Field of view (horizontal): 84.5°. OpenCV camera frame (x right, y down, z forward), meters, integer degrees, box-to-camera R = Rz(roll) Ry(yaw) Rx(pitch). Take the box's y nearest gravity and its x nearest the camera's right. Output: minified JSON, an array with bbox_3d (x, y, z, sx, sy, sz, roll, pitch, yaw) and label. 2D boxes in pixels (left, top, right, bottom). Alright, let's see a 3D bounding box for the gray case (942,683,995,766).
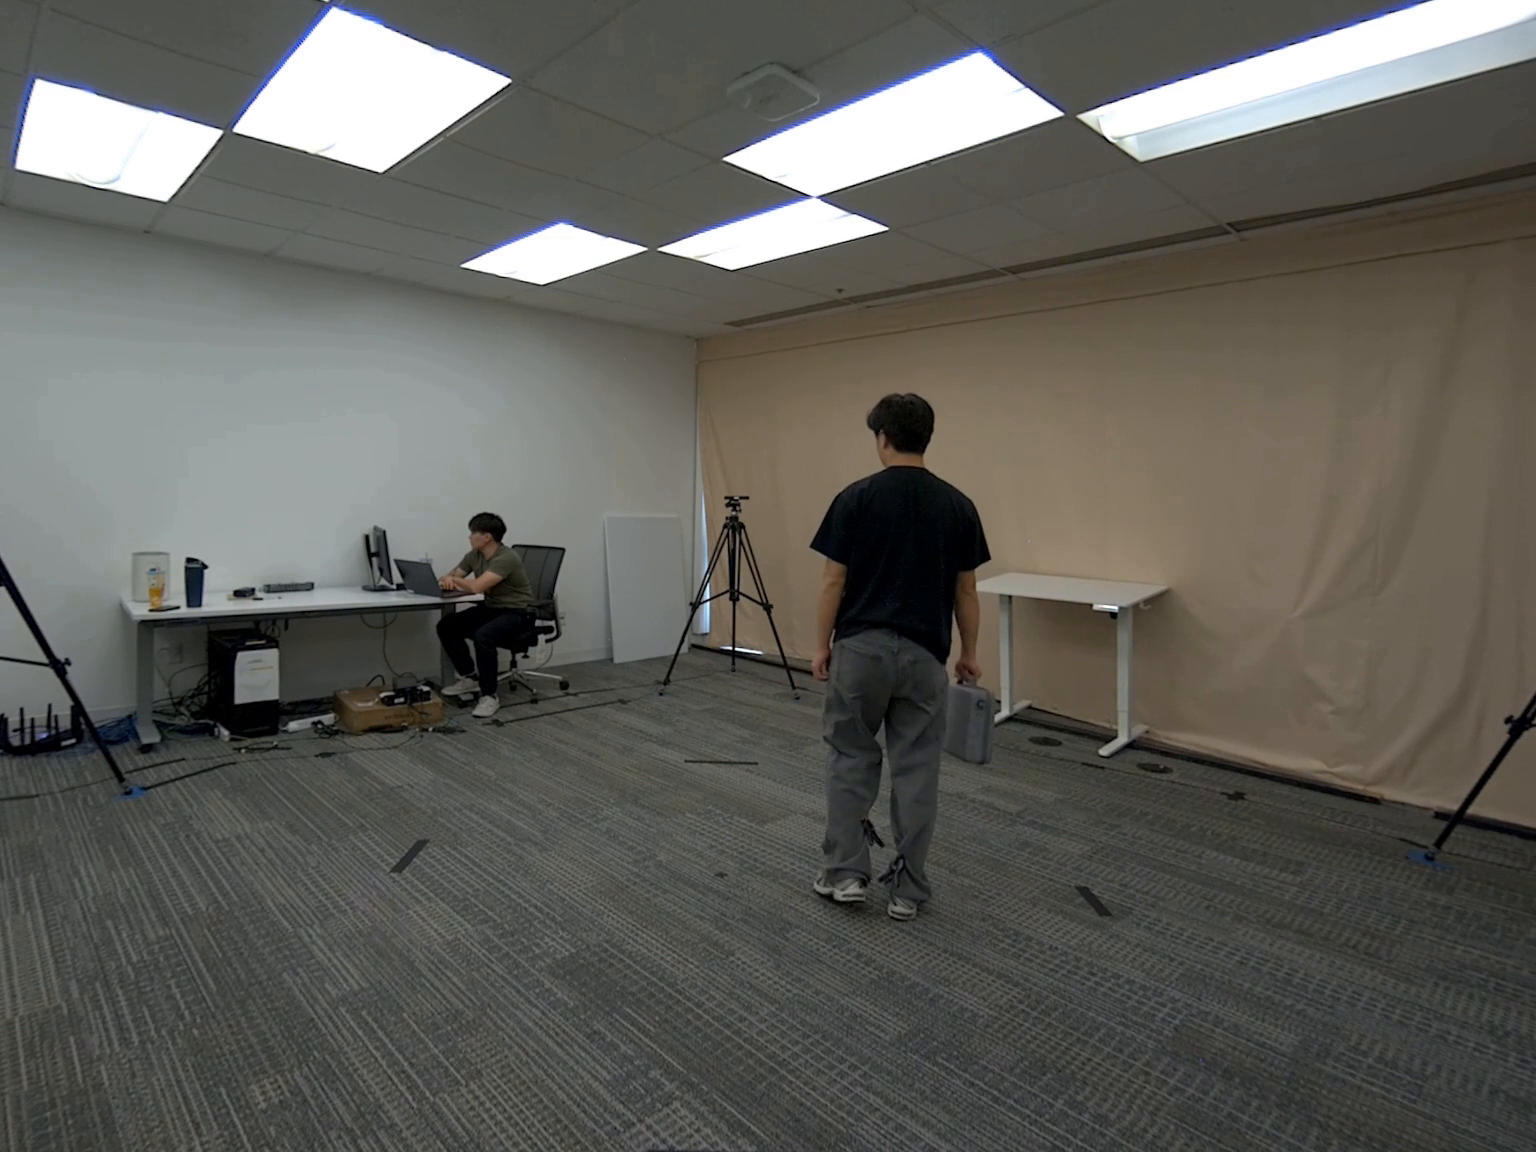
[{"bbox_3d":[0.685,0.502,2.961,0.102,0.288,0.264,6,-4,-9],"label":"gray case"}]
